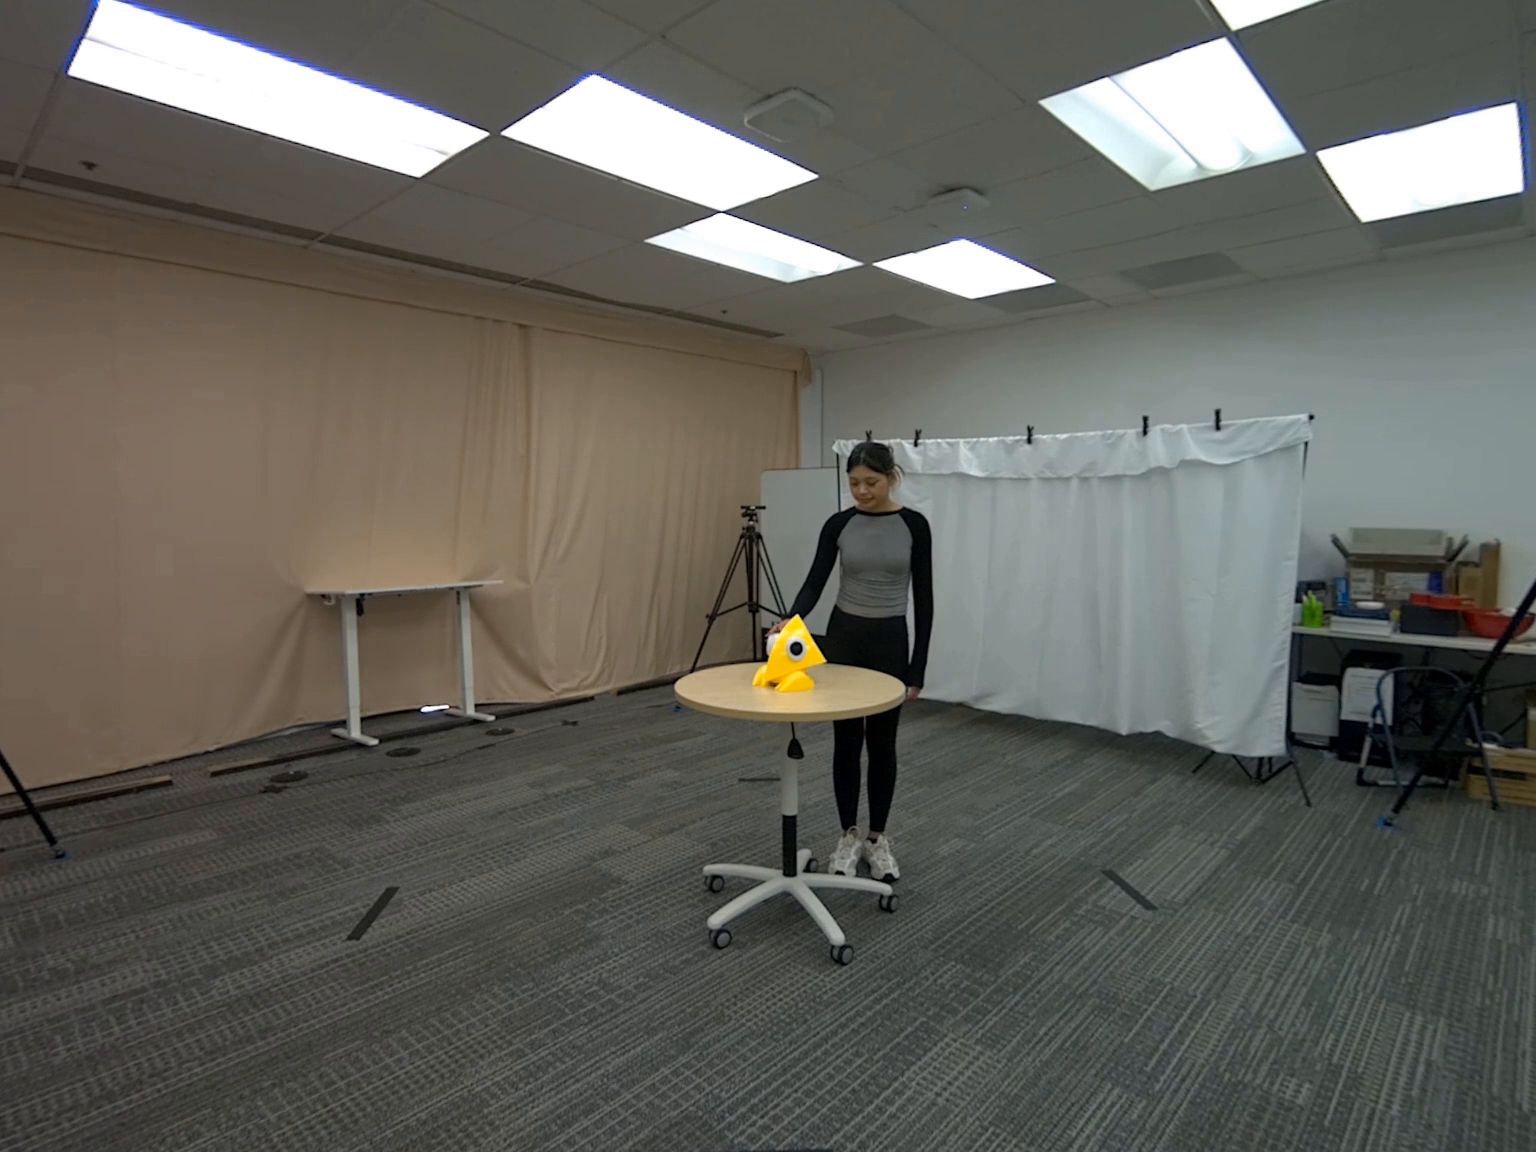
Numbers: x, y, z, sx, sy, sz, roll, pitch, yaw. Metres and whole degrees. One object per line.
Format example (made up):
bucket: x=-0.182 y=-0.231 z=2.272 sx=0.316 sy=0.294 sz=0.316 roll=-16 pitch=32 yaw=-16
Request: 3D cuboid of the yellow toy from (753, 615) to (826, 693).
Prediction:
yellow toy: x=0.062 y=0.252 z=2.807 sx=0.187 sy=0.230 sz=0.211 roll=-4 pitch=6 yaw=-43
